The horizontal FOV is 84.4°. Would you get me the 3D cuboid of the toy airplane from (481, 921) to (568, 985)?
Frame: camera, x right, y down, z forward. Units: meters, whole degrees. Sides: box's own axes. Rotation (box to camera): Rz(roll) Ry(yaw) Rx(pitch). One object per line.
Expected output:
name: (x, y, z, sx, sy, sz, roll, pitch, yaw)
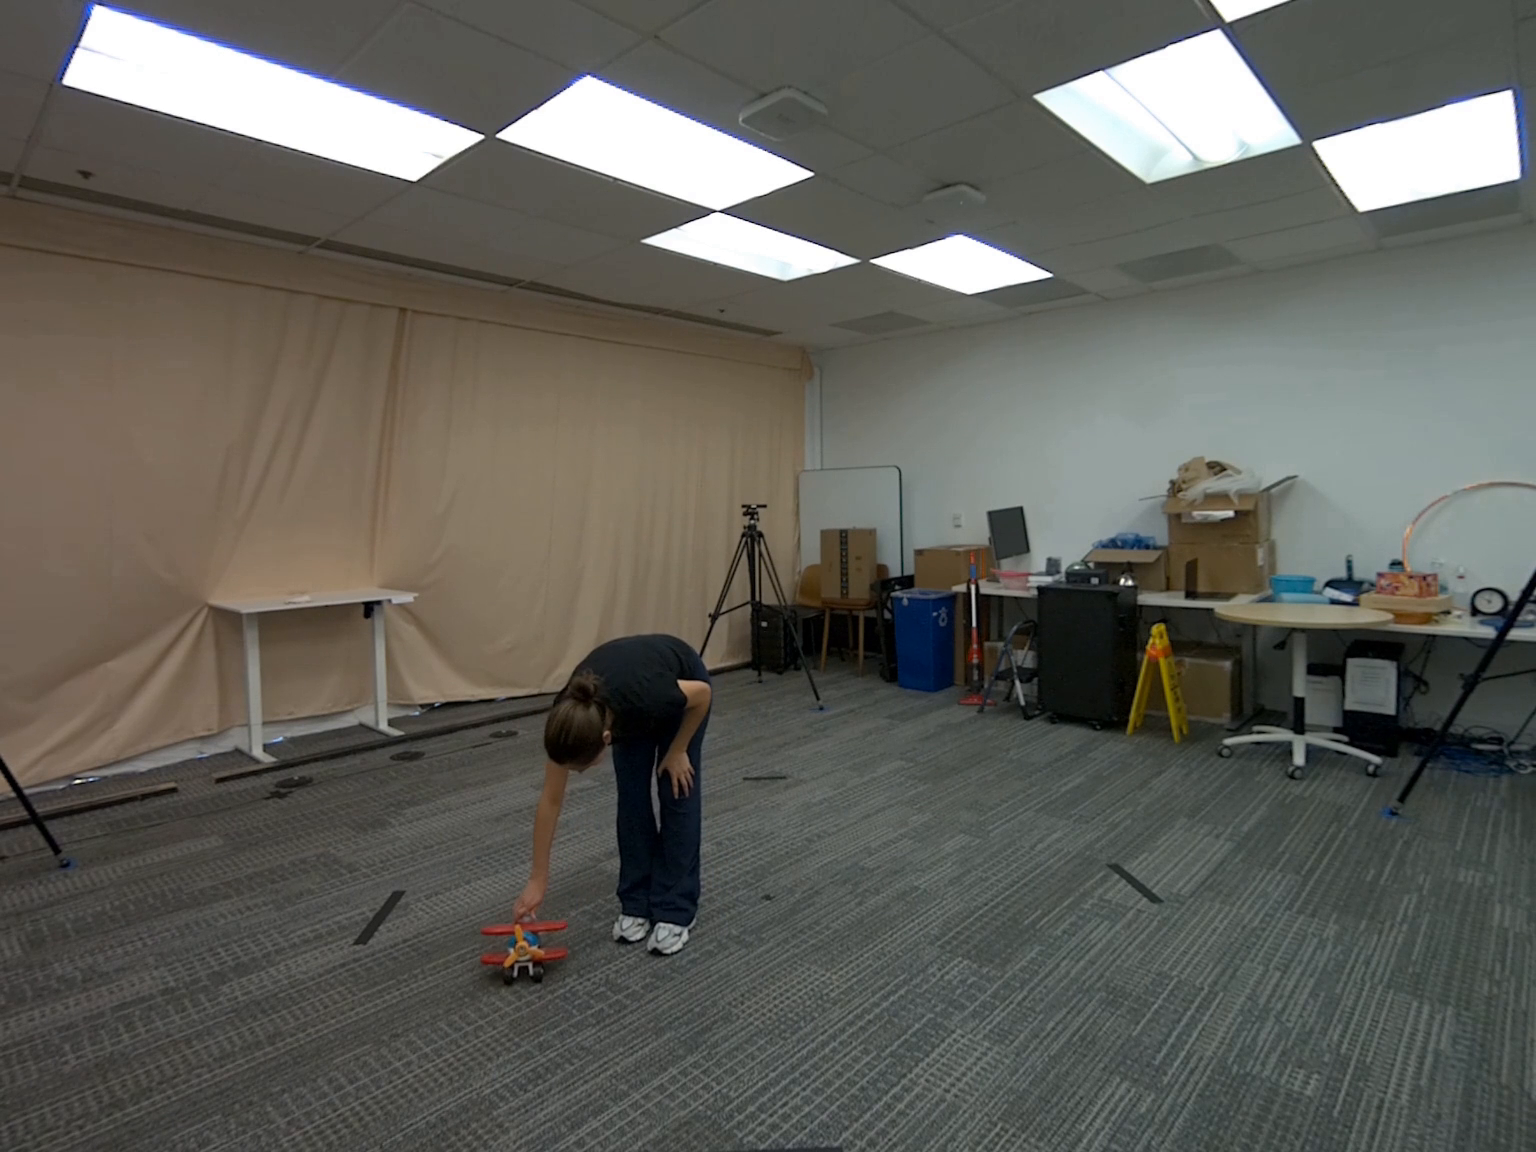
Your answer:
toy airplane: (-0.744, 1.120, 2.560, 0.244, 0.156, 0.267, -4, 5, -37)
